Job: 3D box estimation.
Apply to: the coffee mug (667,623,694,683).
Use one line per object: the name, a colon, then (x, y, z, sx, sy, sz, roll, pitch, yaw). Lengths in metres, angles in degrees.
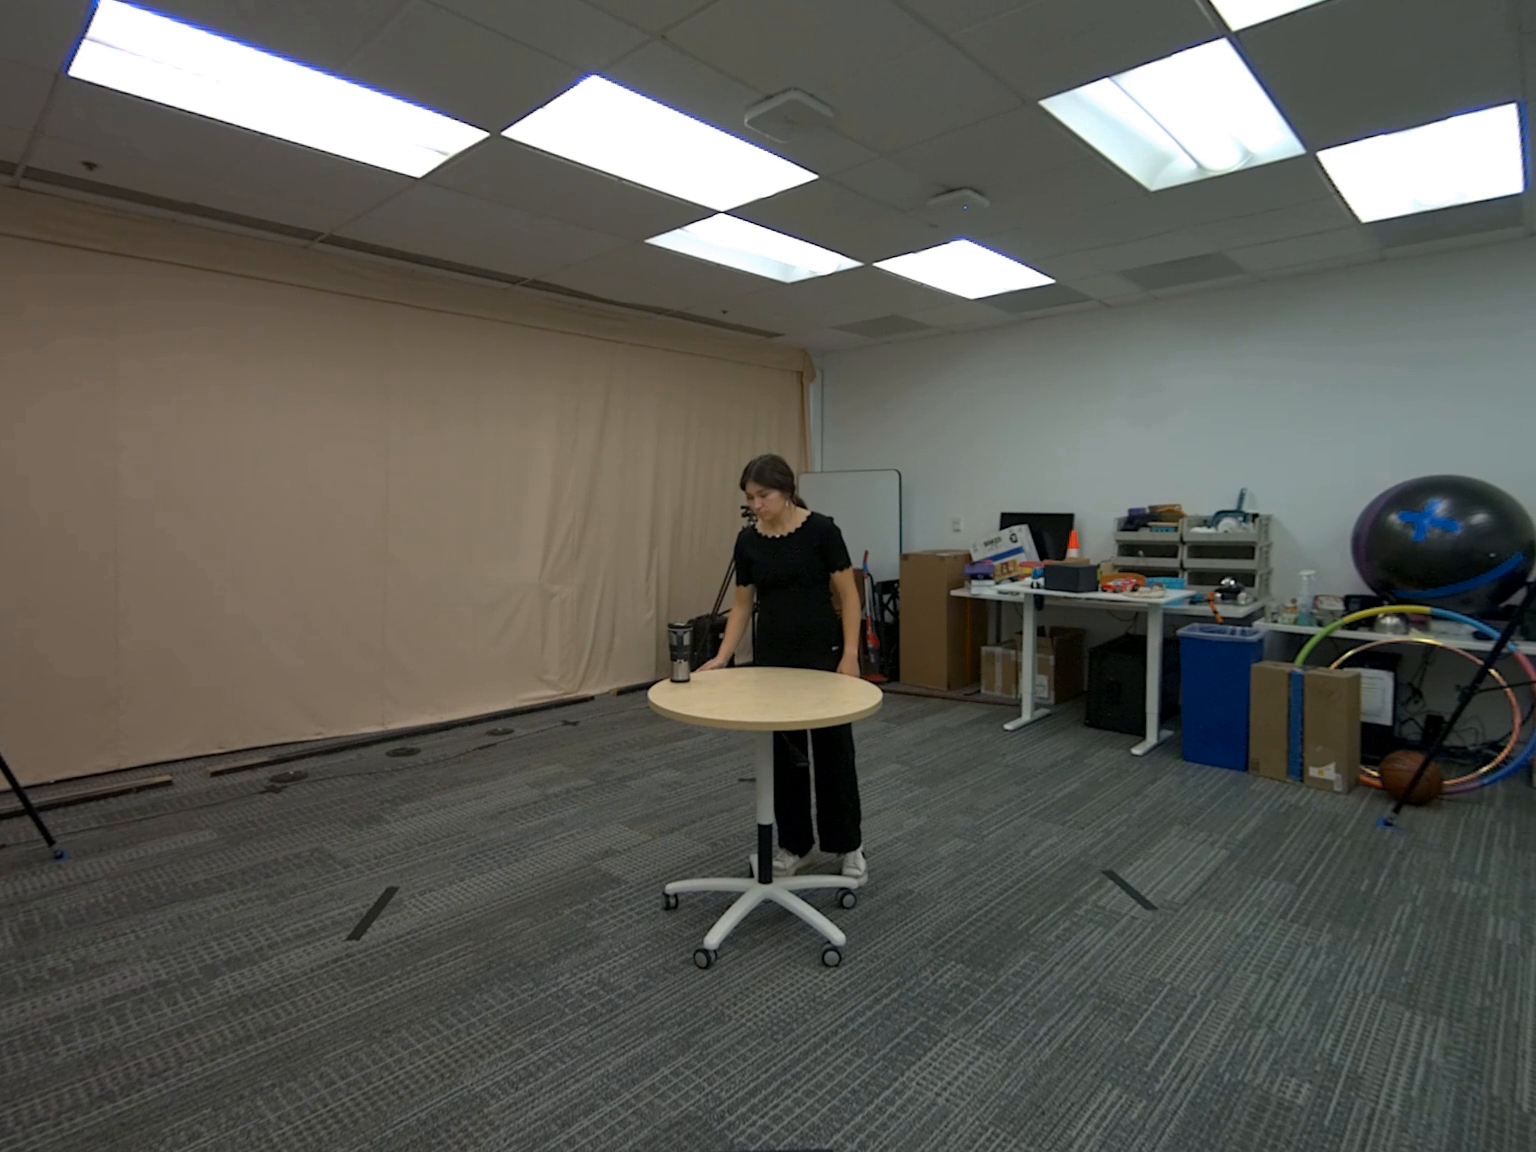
coffee mug: (-0.309, 0.267, 2.903, 0.090, 0.203, 0.119, 4, 2, 27)
